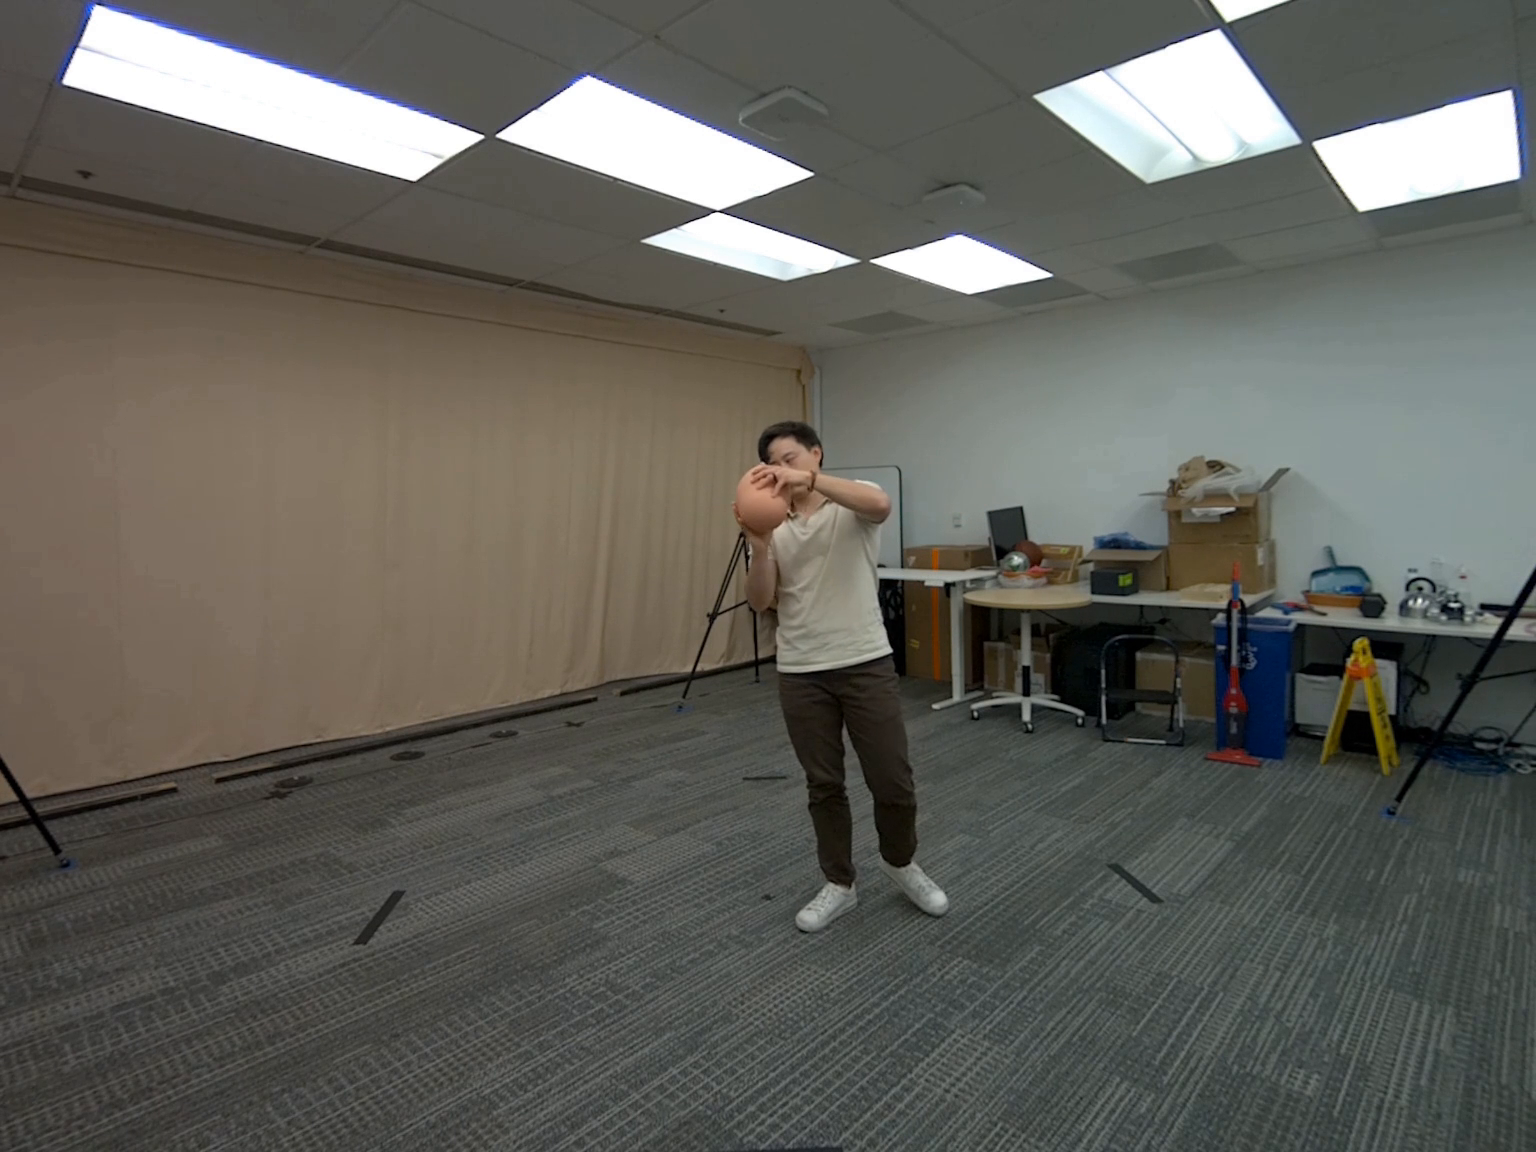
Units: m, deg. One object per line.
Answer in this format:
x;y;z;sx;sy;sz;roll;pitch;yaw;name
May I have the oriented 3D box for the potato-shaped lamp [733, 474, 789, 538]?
0.000;-0.224;2.554;0.160;0.172;0.202;36;20;-24;potato-shaped lamp
